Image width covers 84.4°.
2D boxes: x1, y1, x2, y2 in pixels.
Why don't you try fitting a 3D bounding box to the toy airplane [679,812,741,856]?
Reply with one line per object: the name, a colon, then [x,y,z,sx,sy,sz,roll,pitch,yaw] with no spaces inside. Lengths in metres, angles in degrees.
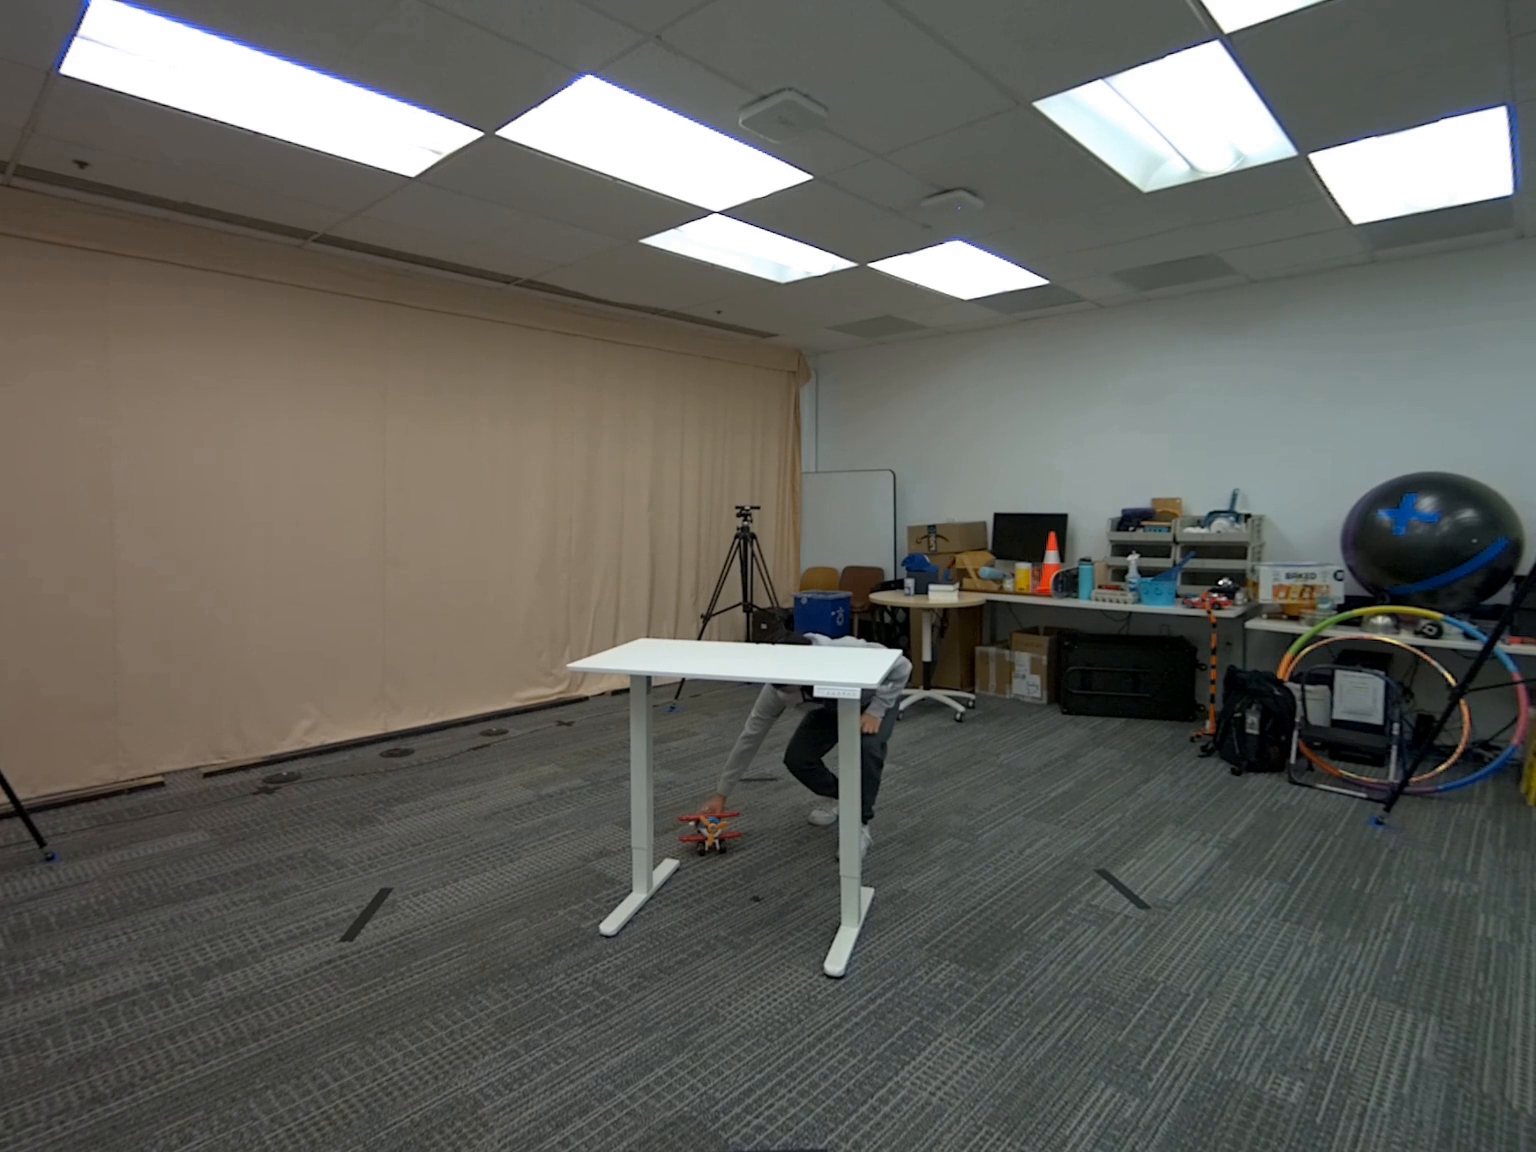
toy airplane: [-0.261,1.037,3.449,0.243,0.156,0.268,-4,5,-40]
